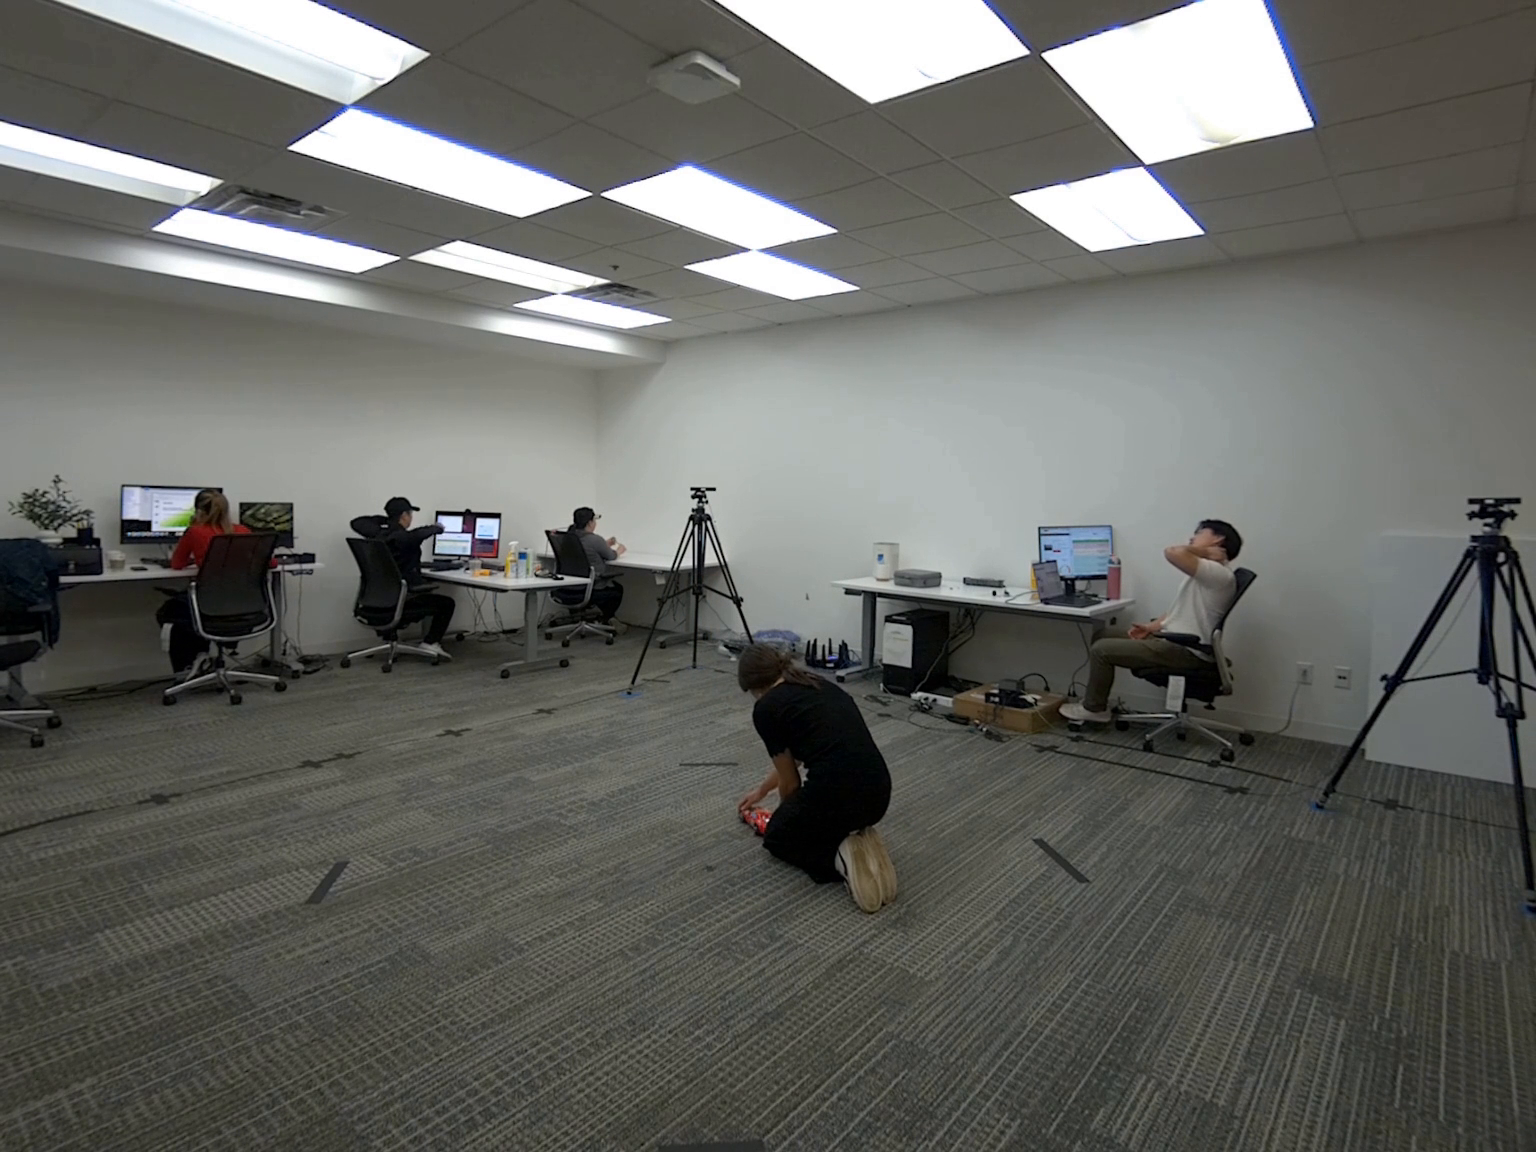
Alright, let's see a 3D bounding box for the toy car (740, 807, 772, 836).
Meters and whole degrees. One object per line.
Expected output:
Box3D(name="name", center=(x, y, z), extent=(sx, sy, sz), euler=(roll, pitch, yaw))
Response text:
Box3D(name="toy car", center=(-0.032, 1.002, 3.483), extent=(0.127, 0.084, 0.258), euler=(-1, -6, -23))
